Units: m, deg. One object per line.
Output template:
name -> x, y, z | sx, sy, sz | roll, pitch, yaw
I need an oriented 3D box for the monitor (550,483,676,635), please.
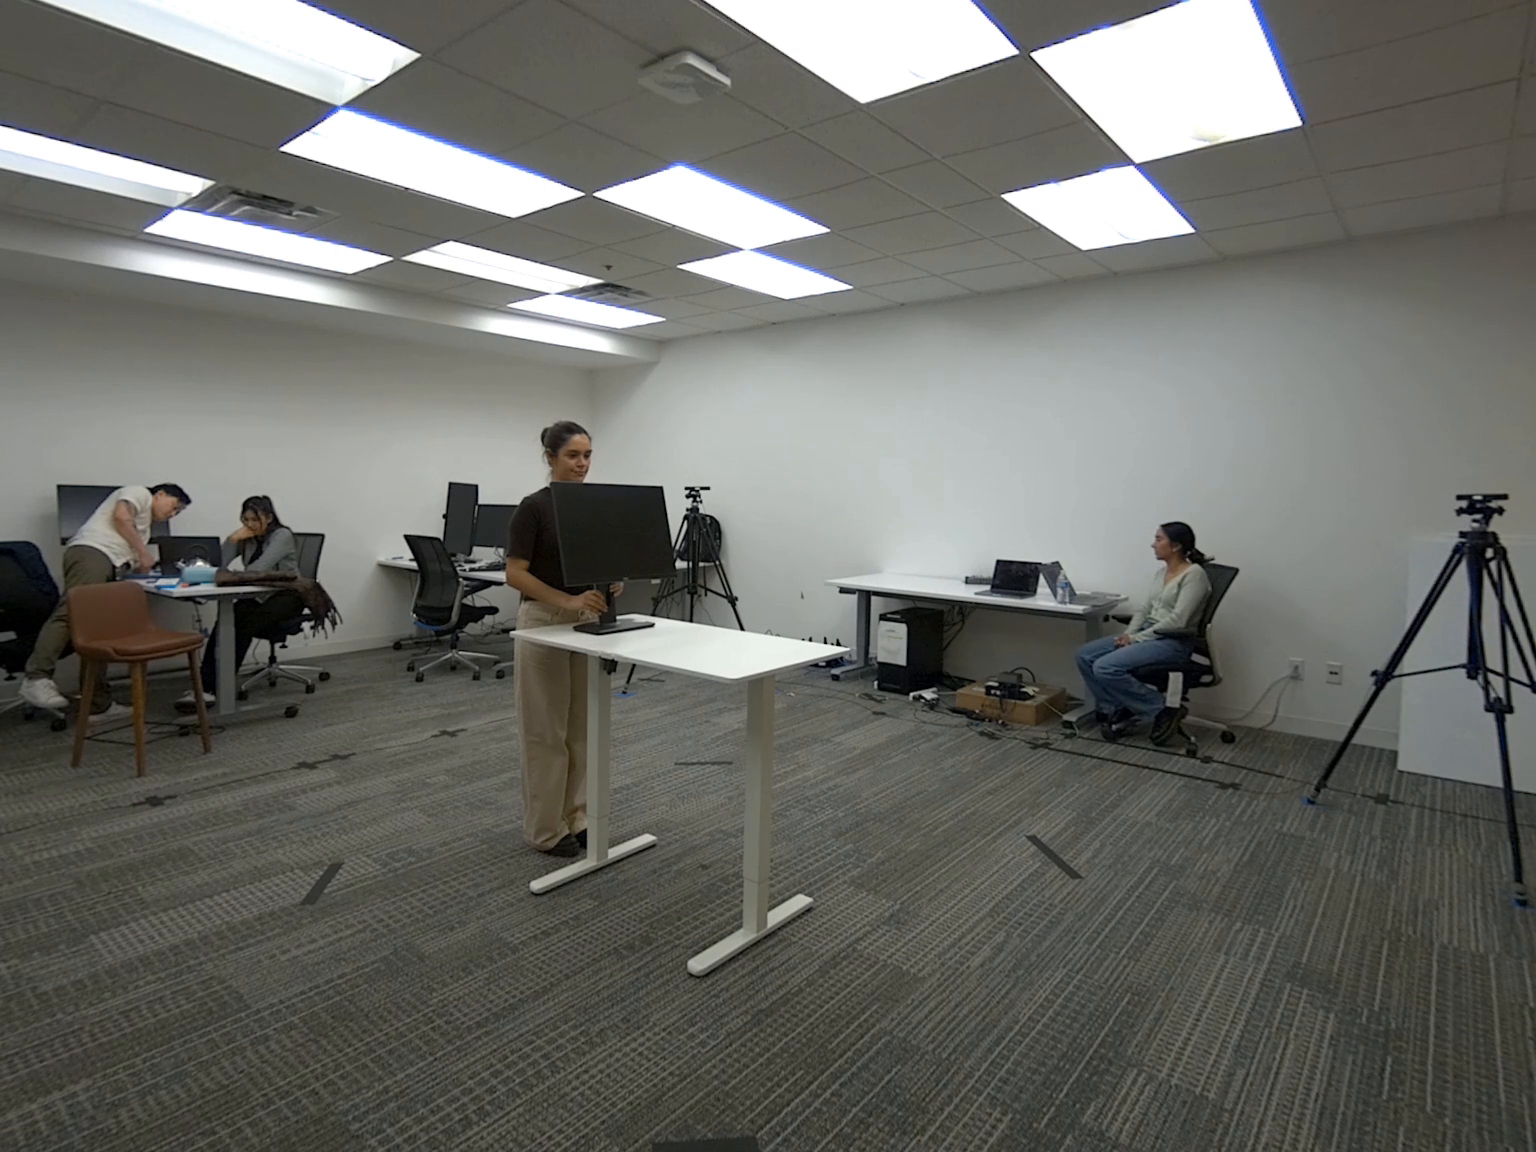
monitor -> -0.564, -0.072, 3.016 | 0.180, 0.514, 0.514 | 7, 5, 36
